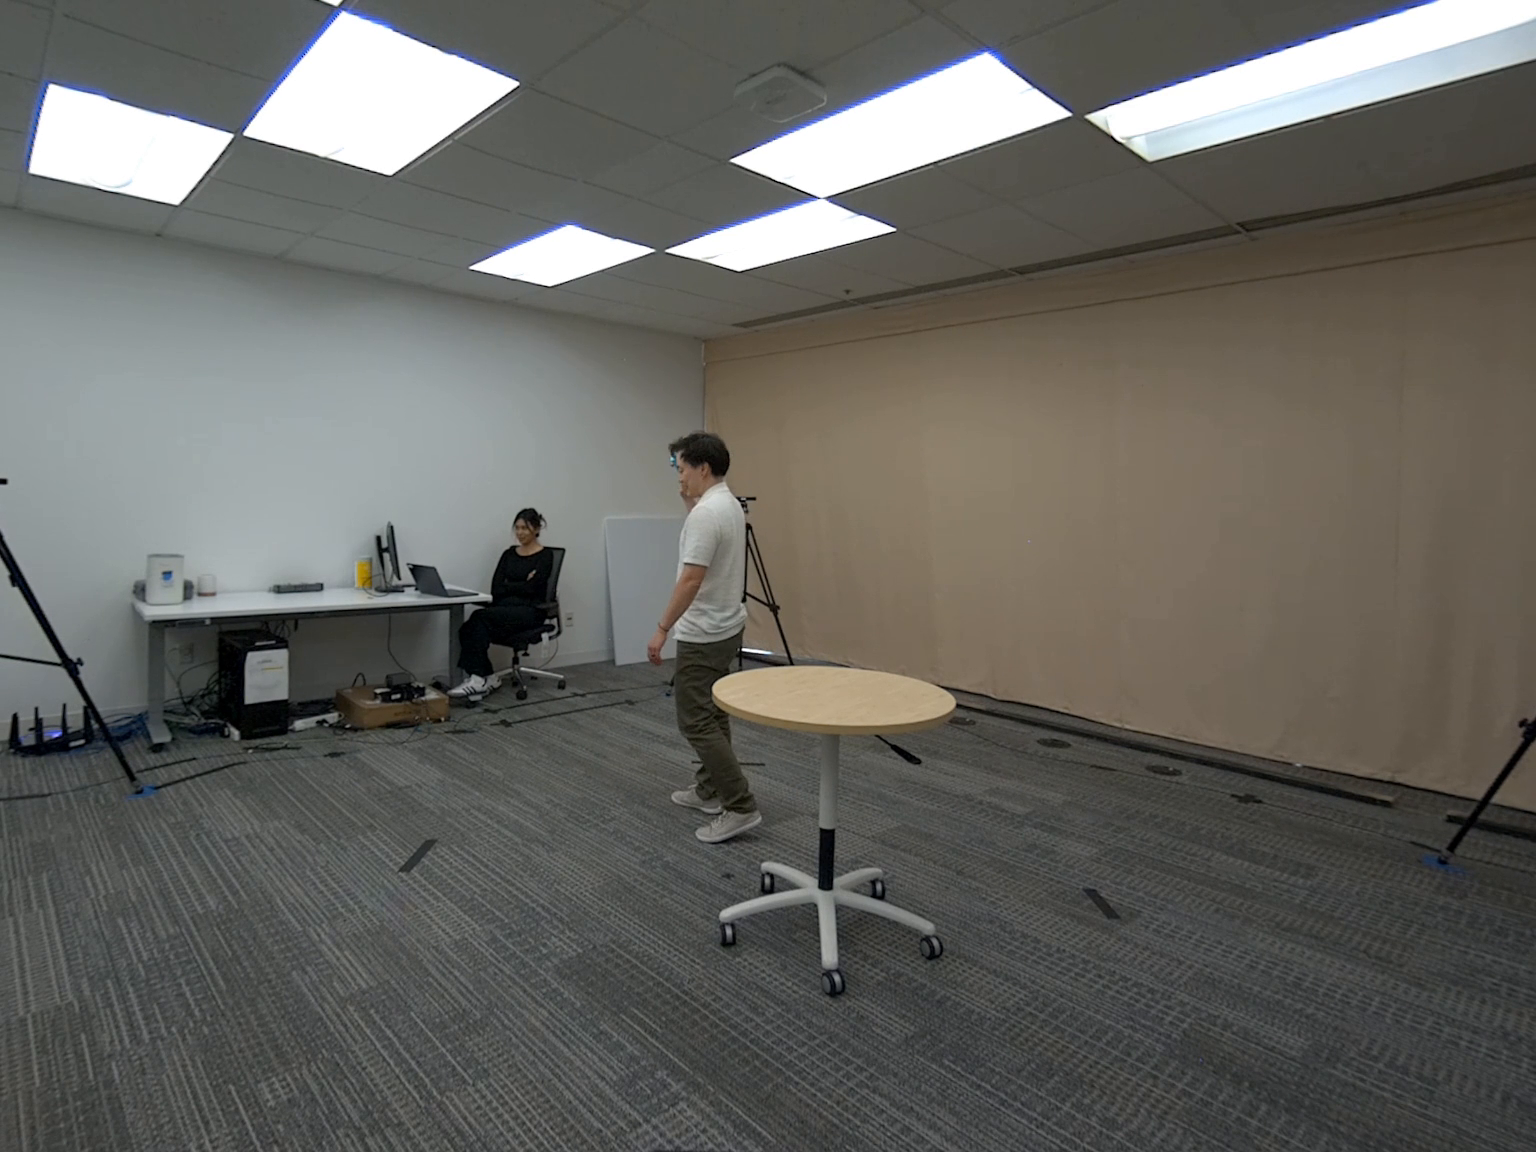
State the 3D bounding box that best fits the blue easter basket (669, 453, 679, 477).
[{"bbox_3d":[-0.347,-0.525,3.849,0.244,0.153,0.248,-35,21,13],"label":"blue easter basket"}]
